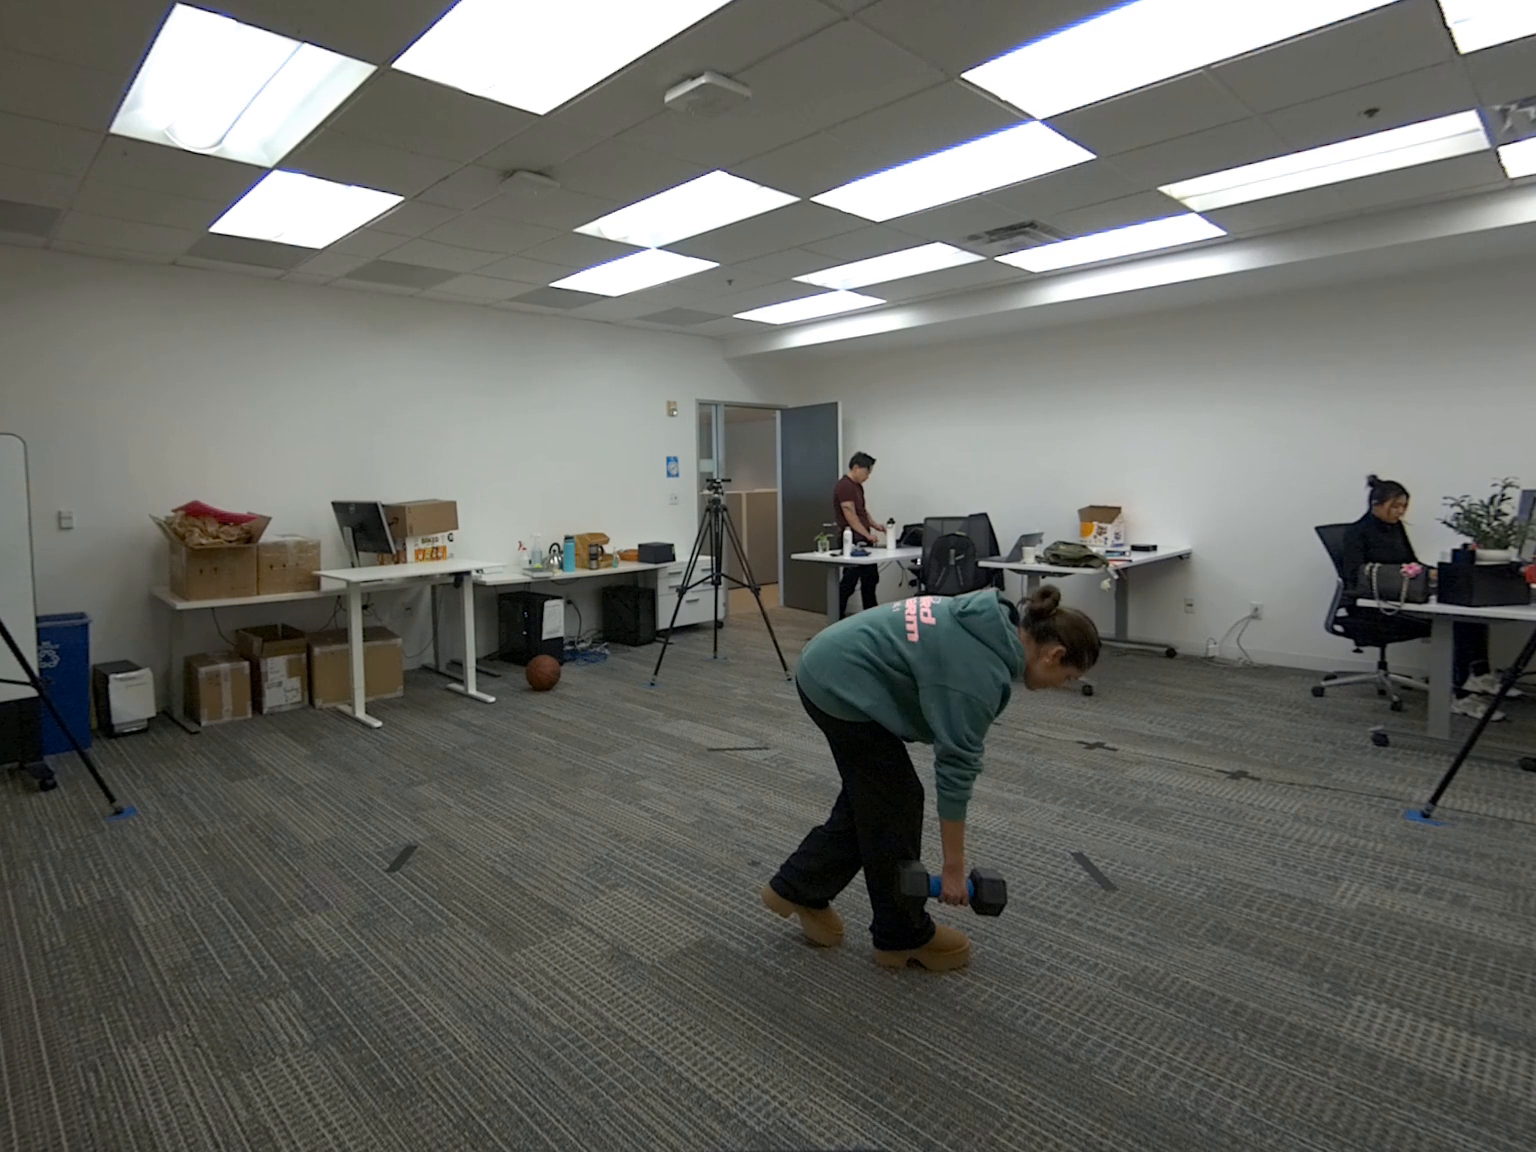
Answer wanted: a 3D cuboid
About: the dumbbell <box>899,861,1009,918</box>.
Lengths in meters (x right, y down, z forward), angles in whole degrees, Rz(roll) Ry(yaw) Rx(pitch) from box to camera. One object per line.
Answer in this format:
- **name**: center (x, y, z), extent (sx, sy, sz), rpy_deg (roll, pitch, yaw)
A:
- **dumbbell**: center (0.504, 0.849, 2.312), extent (0.293, 0.120, 0.111), rpy_deg (5, 35, -2)
